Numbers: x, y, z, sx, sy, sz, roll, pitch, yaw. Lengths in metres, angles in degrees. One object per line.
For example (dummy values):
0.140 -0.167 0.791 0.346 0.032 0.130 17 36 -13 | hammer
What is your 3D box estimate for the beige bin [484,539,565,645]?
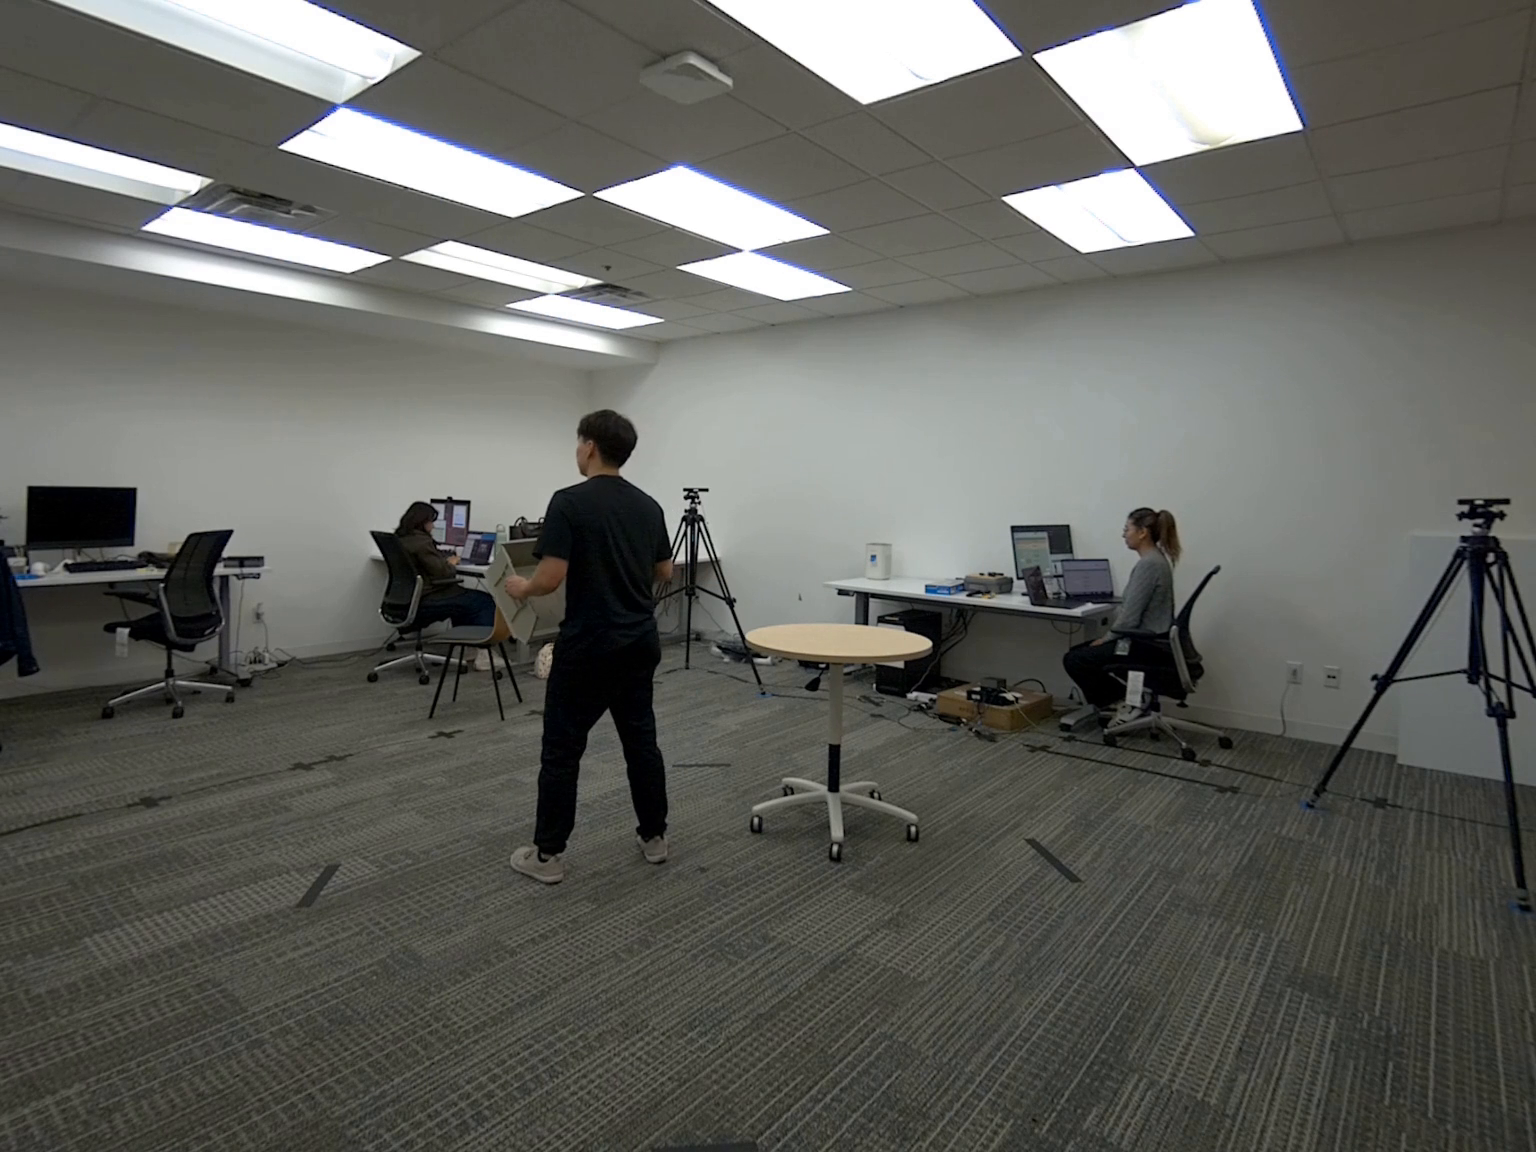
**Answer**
-0.846 0.049 3.341 0.411 0.388 0.189 -9 -31 -48 | beige bin
